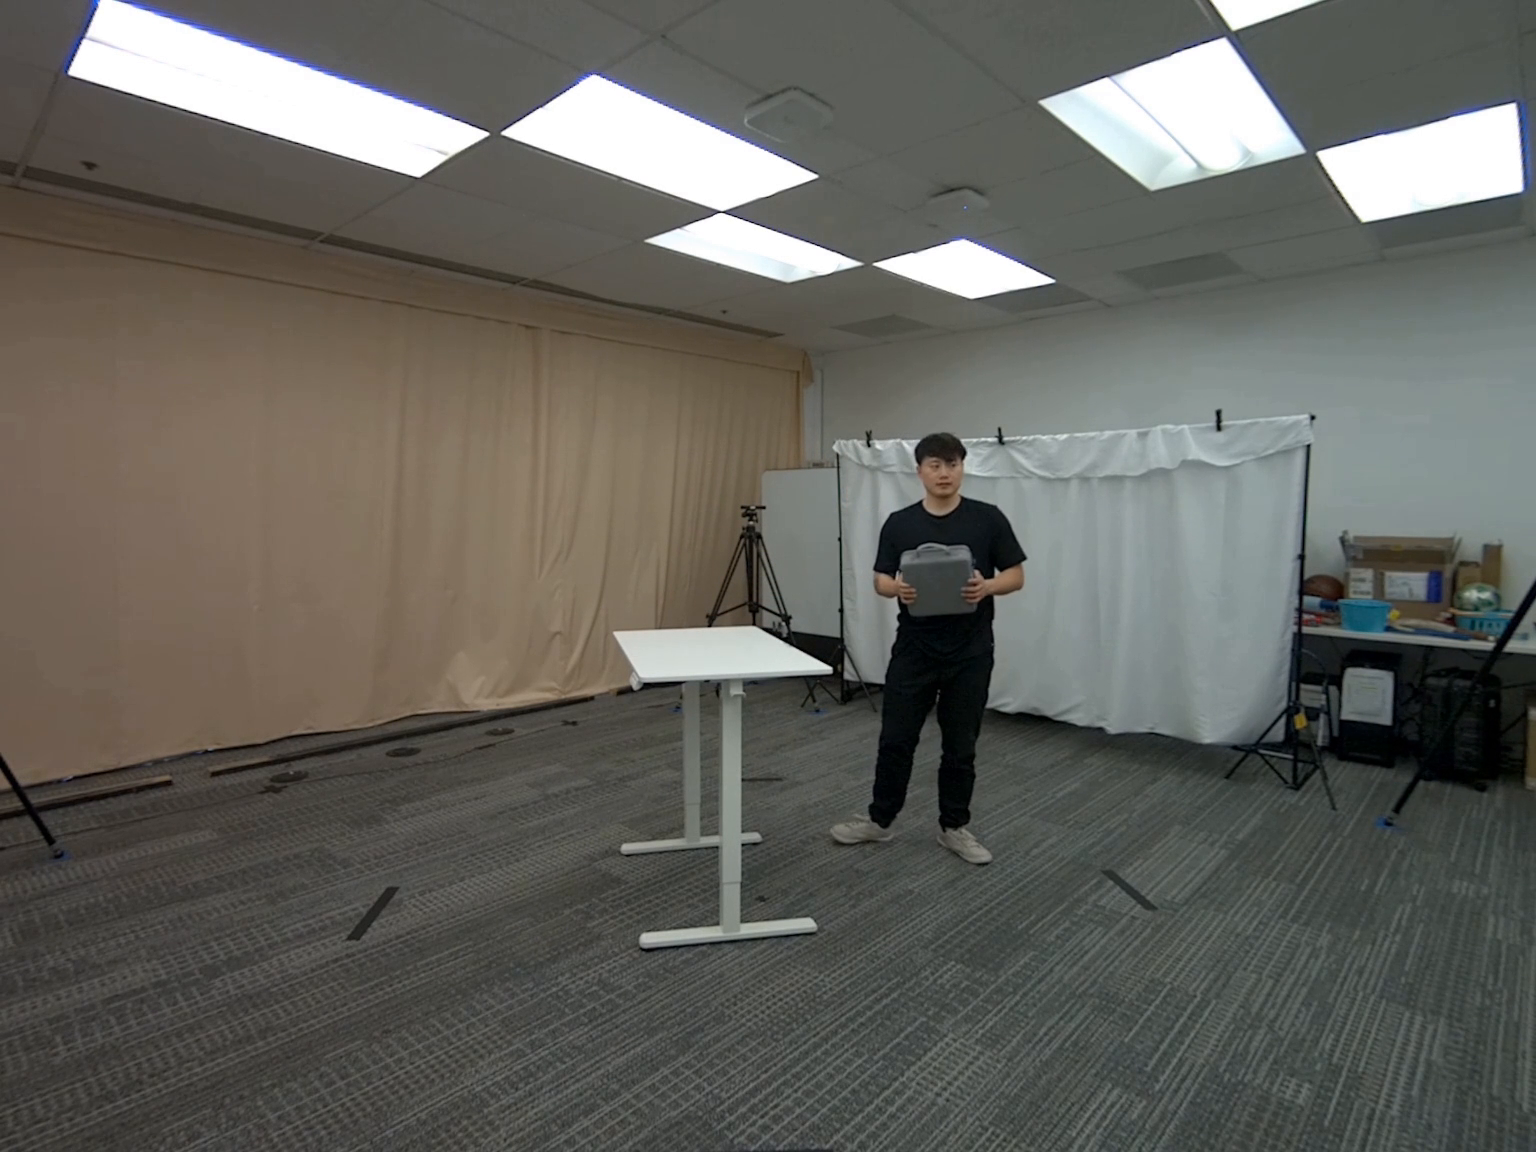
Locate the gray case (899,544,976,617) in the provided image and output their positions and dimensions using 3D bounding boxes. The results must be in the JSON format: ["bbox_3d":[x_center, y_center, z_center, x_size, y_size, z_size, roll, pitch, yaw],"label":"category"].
[{"bbox_3d":[0.632,0.018,3.117,0.262,0.255,0.104,-6,30,21],"label":"gray case"}]
